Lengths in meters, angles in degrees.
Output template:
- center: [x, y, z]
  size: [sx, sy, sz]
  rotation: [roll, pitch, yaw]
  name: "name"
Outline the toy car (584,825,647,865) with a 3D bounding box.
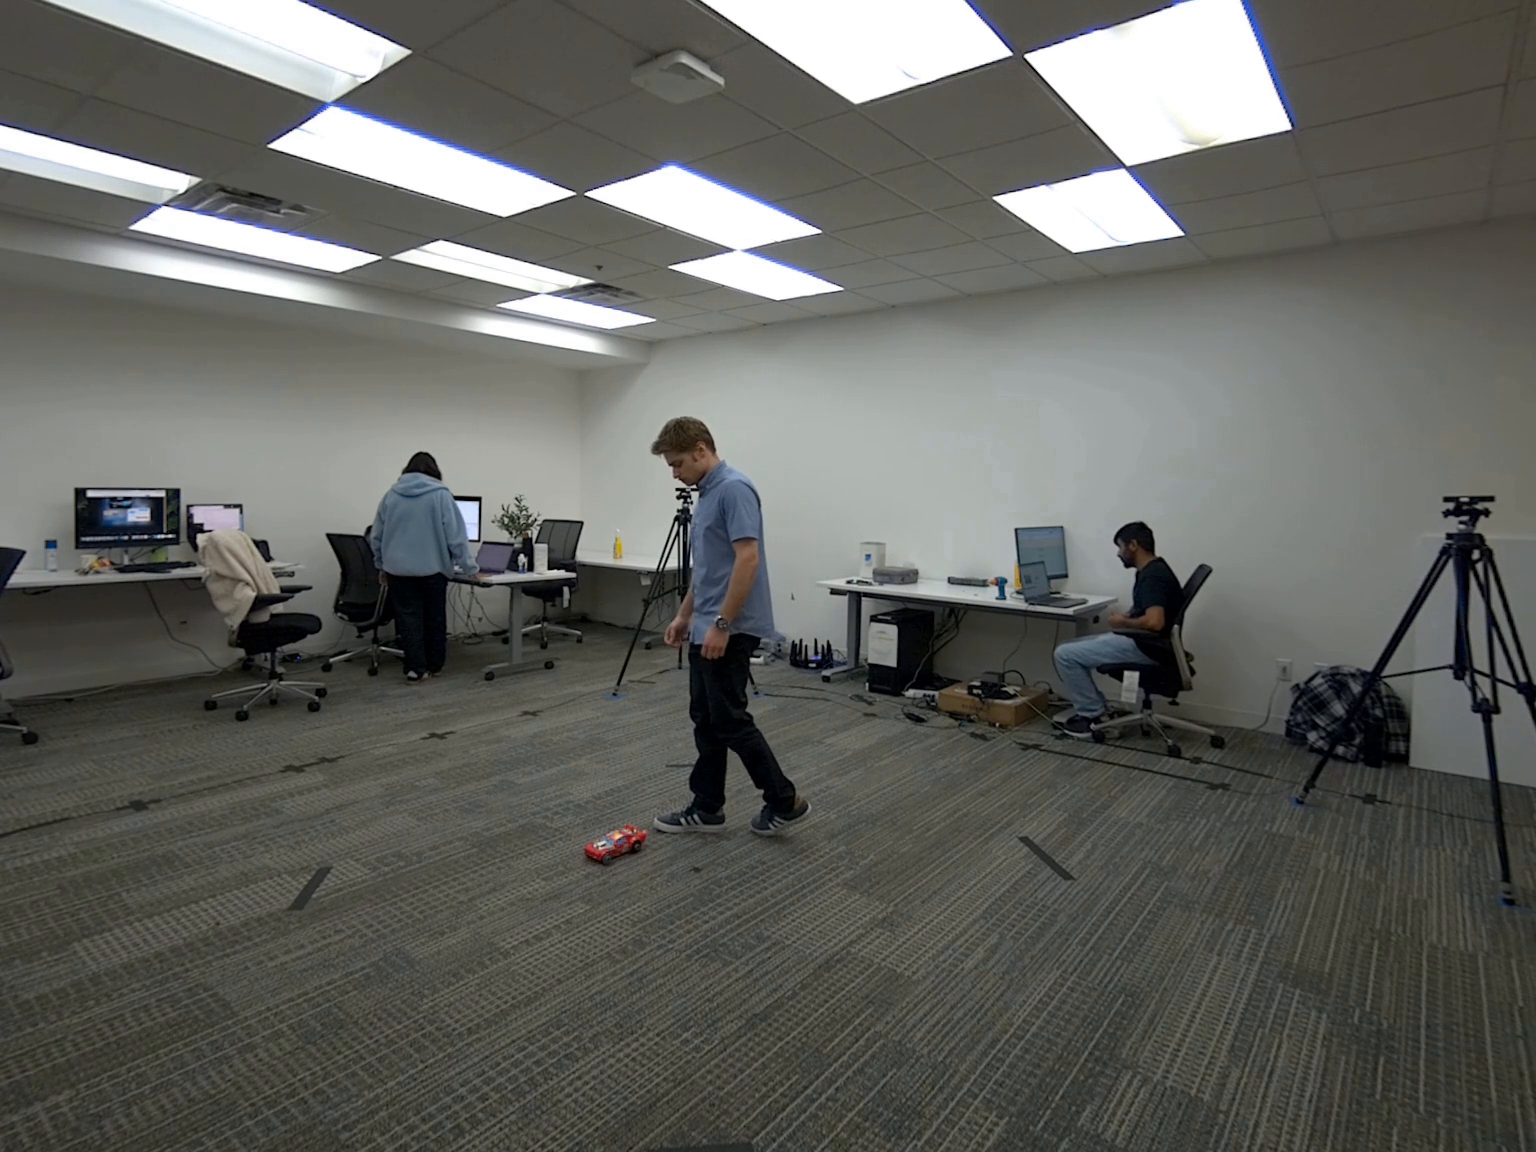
- center: [-0.584, 1.019, 3.238]
  size: [0.135, 0.082, 0.249]
  rotation: [4, 17, 42]
  name: "toy car"
